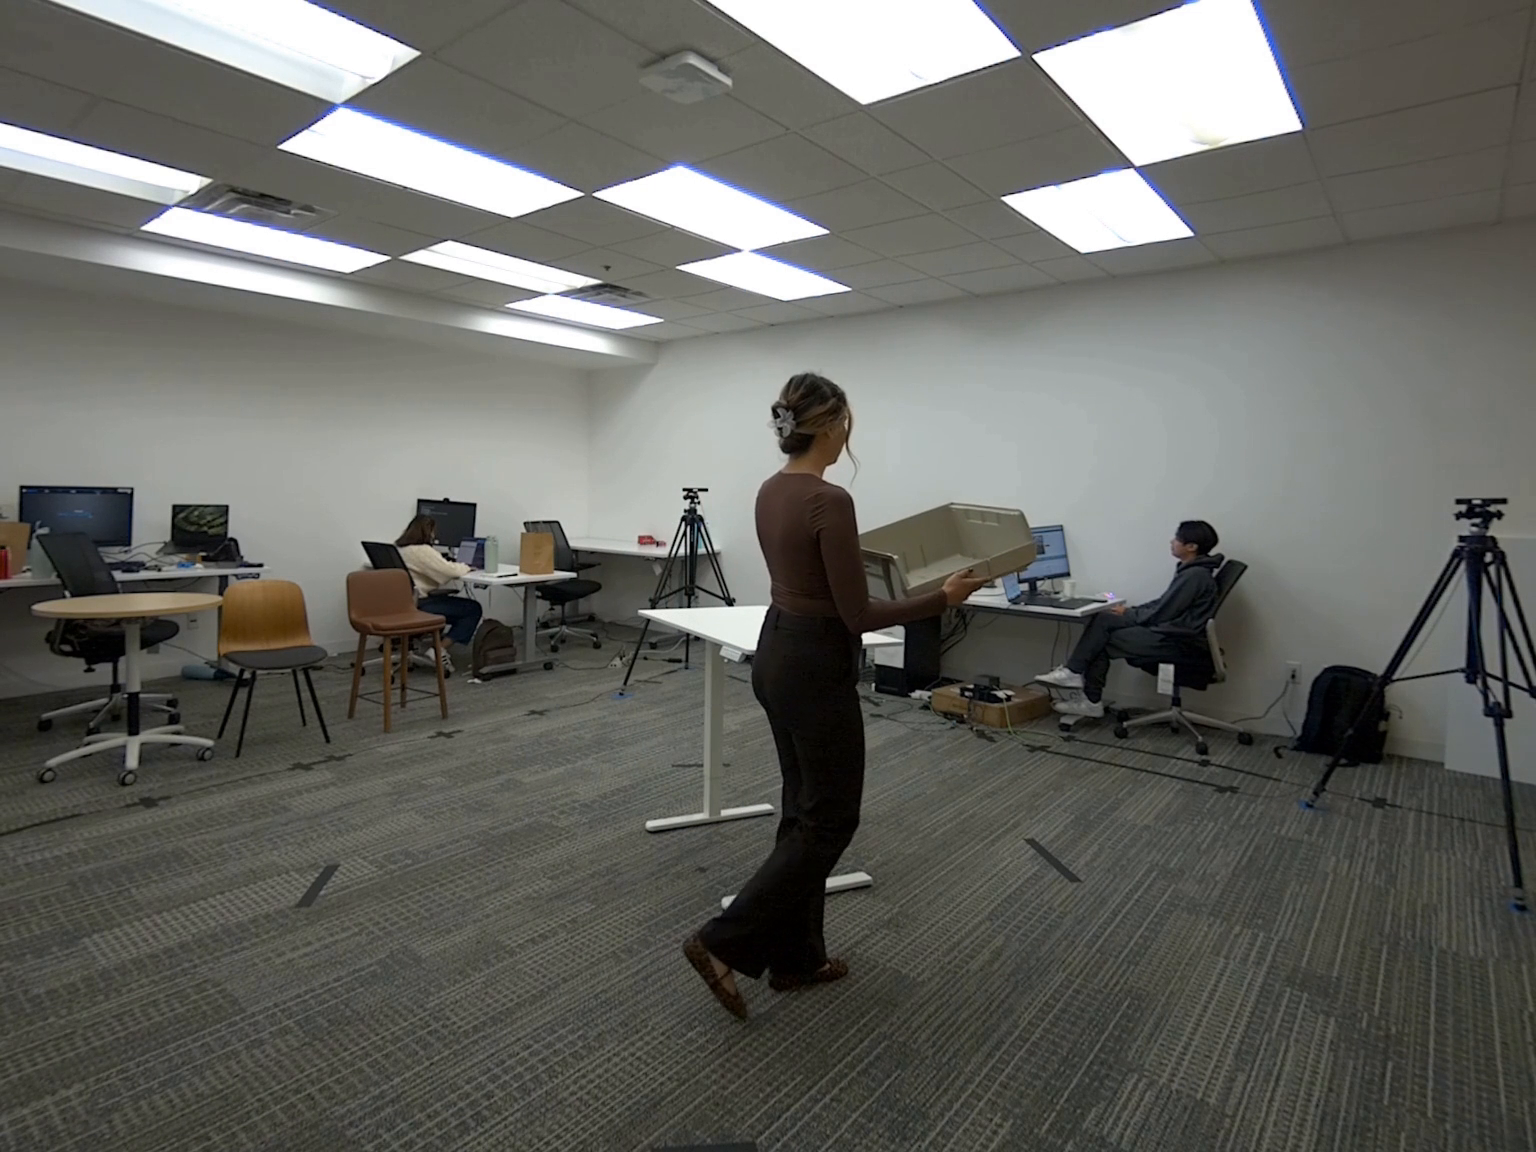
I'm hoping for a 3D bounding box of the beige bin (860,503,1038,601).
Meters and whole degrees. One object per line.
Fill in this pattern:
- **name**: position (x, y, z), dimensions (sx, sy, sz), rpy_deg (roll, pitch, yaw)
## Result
- **beige bin**: position (0.472, -0.060, 2.449), dimensions (0.418, 0.187, 0.385), rpy_deg (-20, 11, -15)
